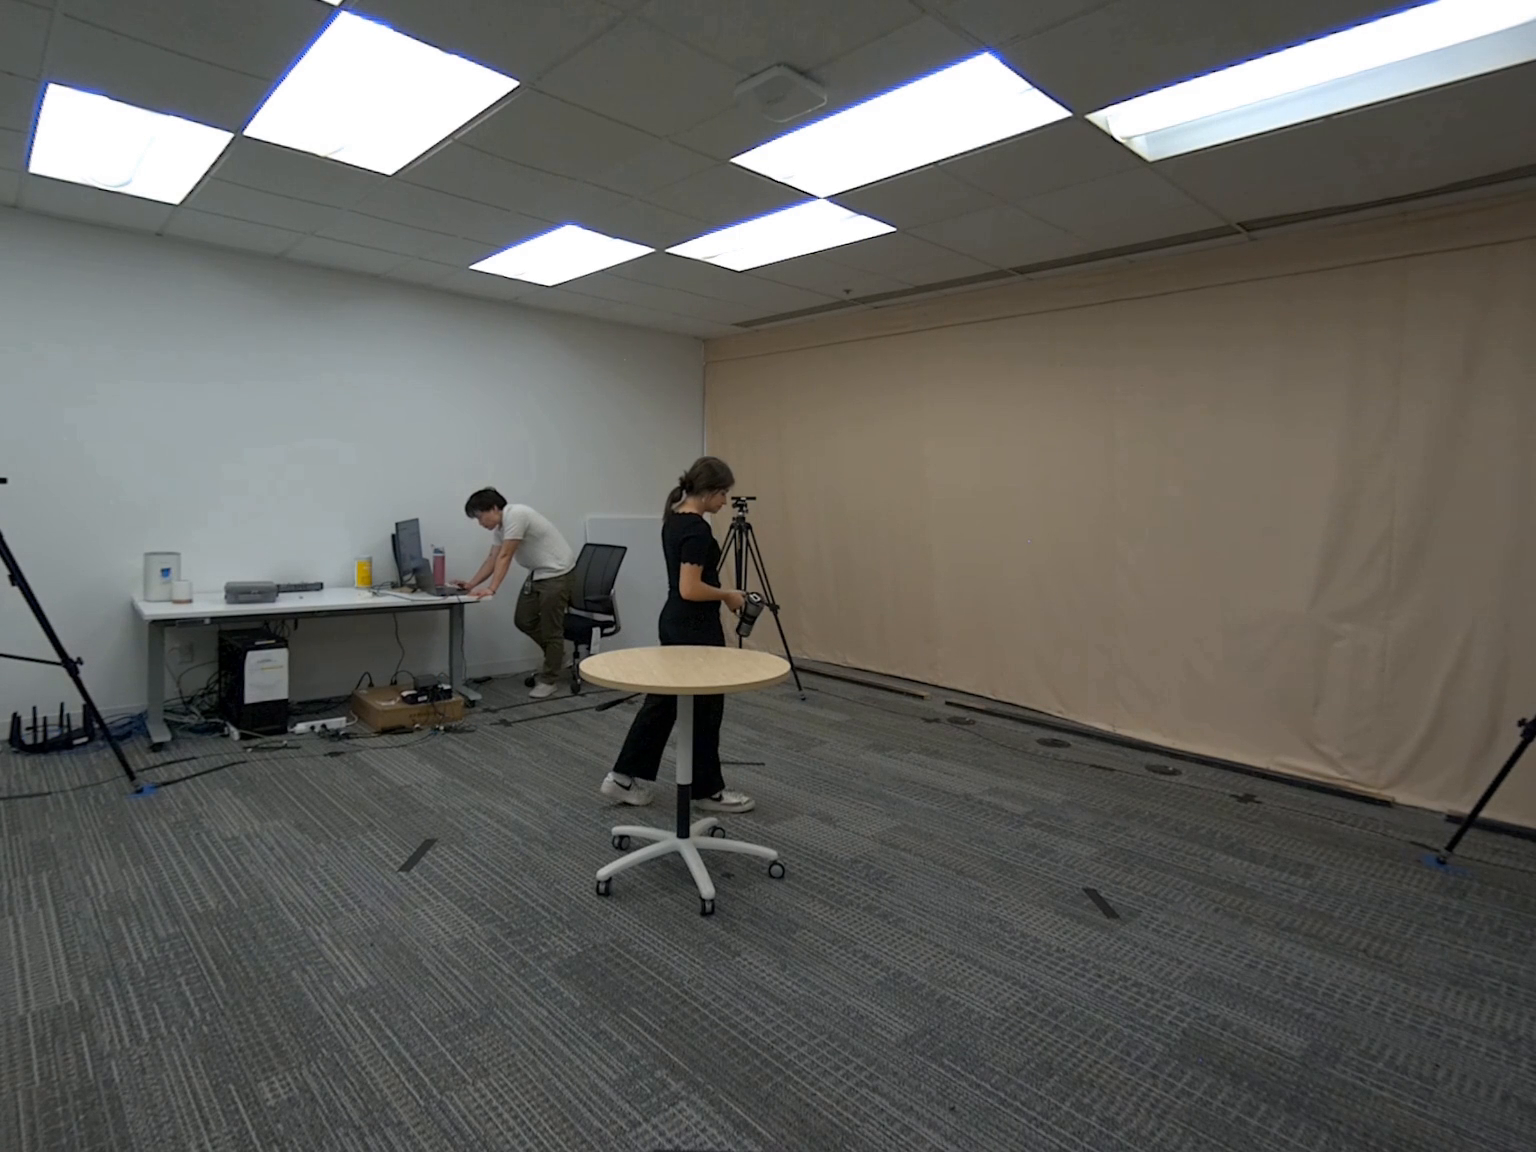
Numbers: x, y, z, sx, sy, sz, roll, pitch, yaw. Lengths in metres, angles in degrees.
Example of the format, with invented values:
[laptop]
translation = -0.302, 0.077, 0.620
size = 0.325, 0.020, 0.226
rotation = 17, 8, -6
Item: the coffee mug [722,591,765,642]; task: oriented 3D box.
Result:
[coffee mug]
translation = -0.117, 0.175, 3.747
size = 0.120, 0.201, 0.090
rotation = 12, 34, -20
